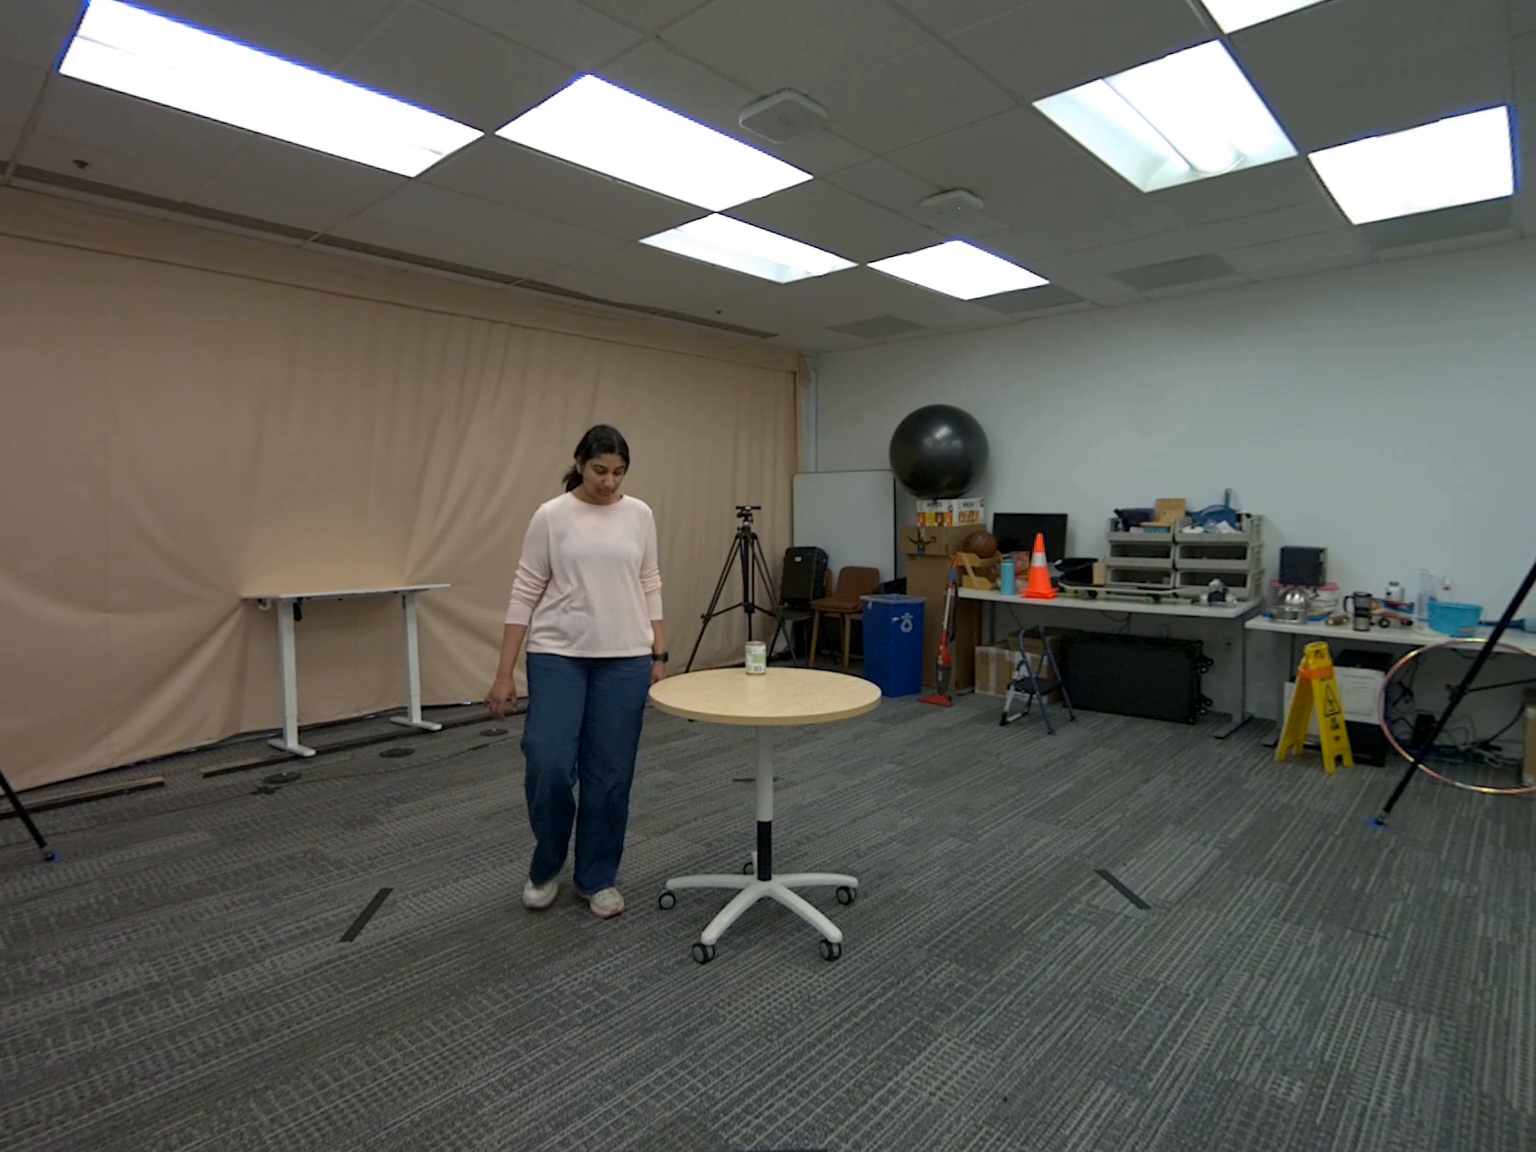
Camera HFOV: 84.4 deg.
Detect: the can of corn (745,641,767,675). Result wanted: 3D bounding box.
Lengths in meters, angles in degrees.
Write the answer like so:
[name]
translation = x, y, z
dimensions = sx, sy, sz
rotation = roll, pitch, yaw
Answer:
[can of corn]
translation = -0.039, 0.304, 3.054
dimensions = 0.074, 0.111, 0.074
rotation = -3, 0, -2
